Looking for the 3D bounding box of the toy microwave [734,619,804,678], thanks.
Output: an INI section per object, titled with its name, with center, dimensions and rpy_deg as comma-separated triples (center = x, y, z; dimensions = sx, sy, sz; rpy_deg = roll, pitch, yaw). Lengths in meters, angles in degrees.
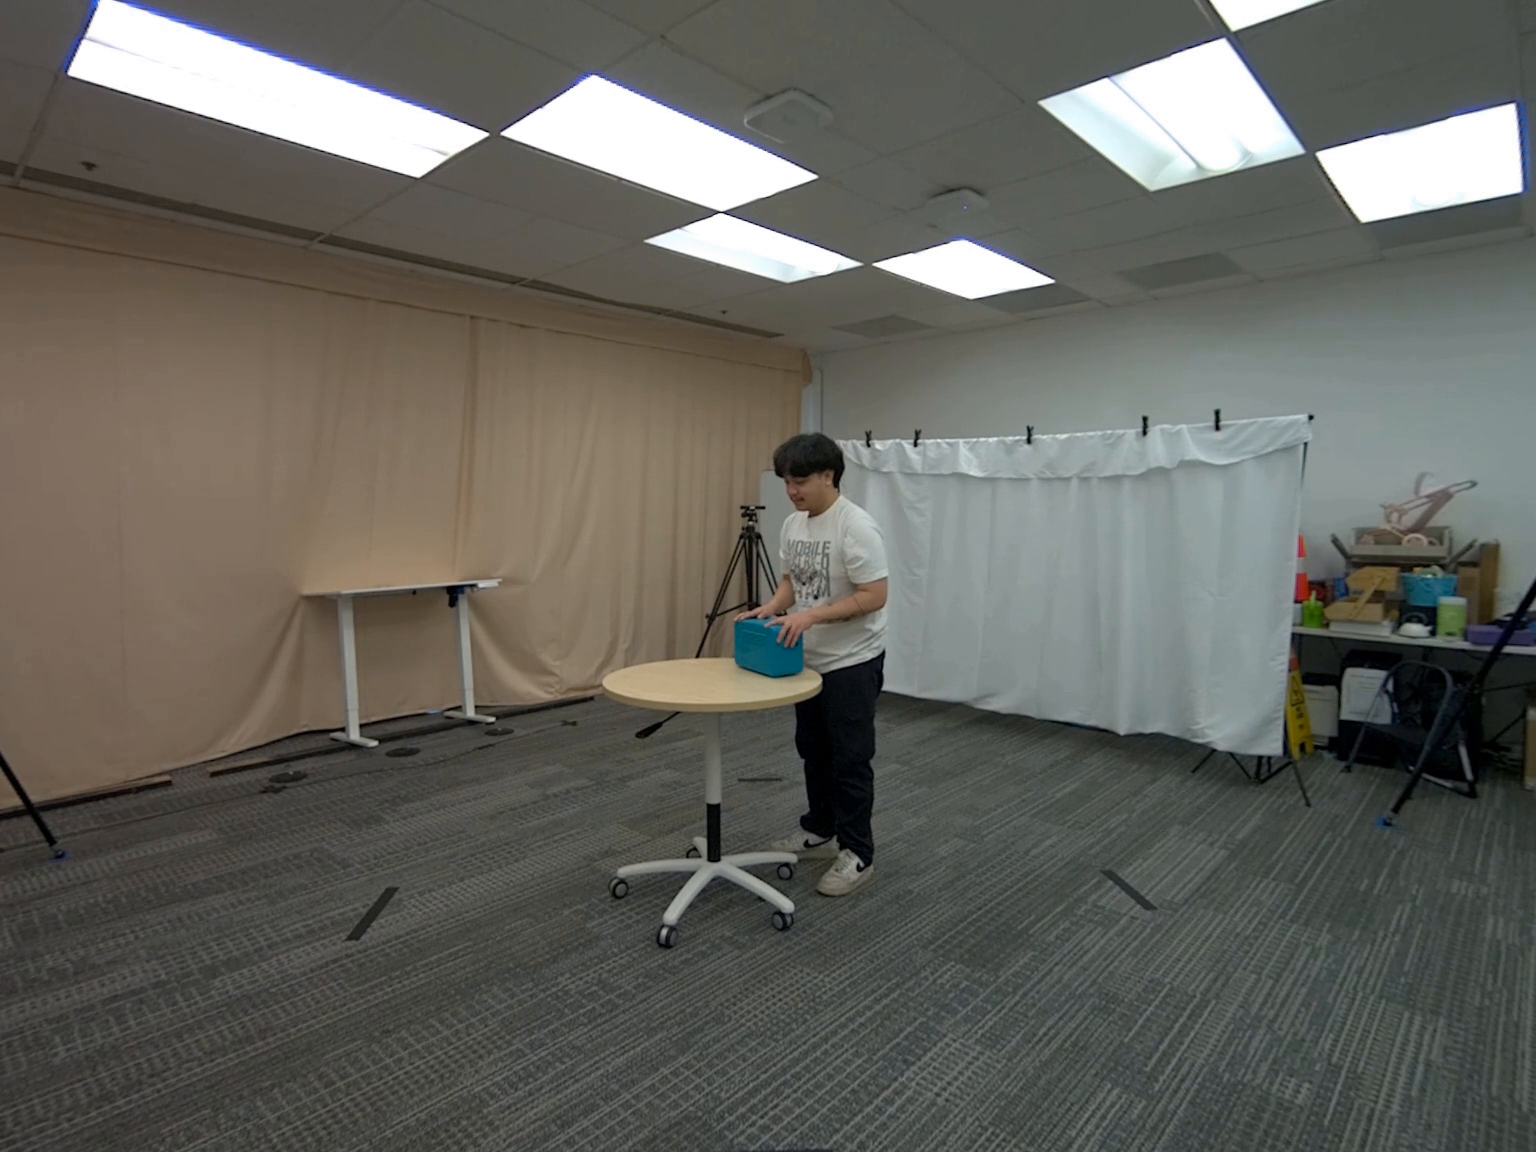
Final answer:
[toy microwave]
center = 0.009, 0.257, 3.060
dimensions = 0.148, 0.183, 0.295
rpy_deg = -3, 5, -31
